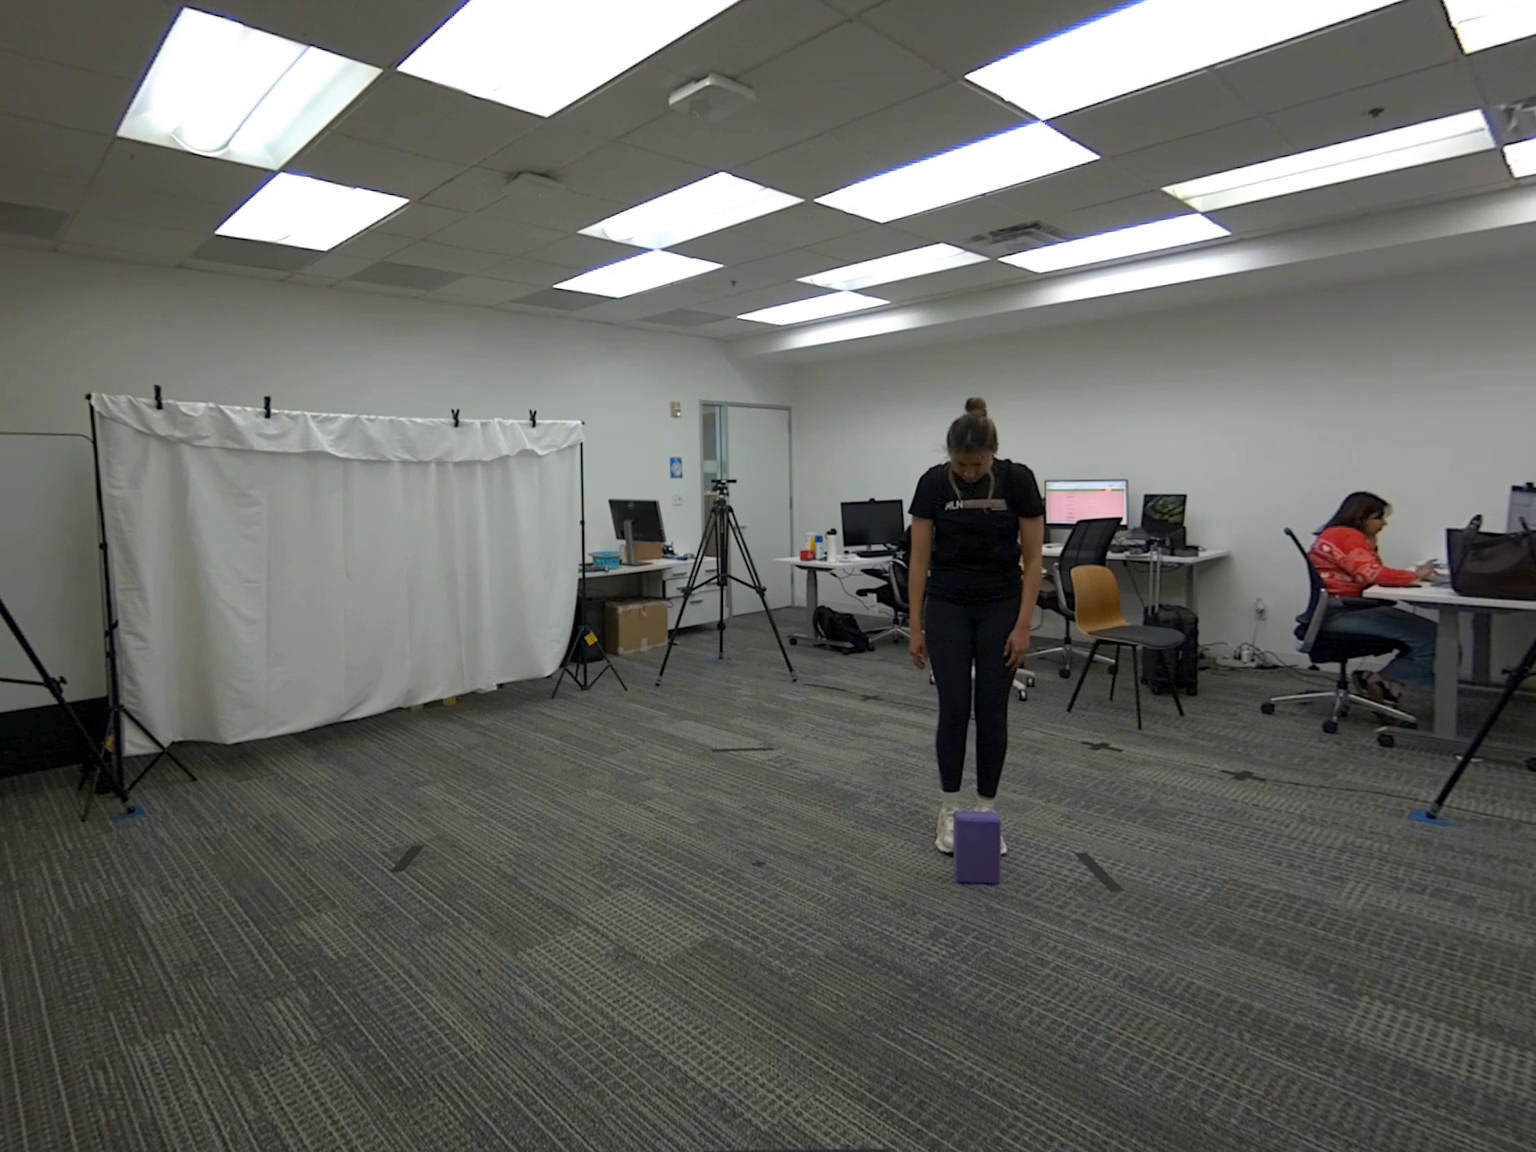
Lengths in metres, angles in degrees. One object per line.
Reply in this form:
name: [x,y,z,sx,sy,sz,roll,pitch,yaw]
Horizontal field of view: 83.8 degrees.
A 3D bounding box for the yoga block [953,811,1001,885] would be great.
yoga block: [0.724,0.937,2.943,0.149,0.228,0.076,-1,4,4]
